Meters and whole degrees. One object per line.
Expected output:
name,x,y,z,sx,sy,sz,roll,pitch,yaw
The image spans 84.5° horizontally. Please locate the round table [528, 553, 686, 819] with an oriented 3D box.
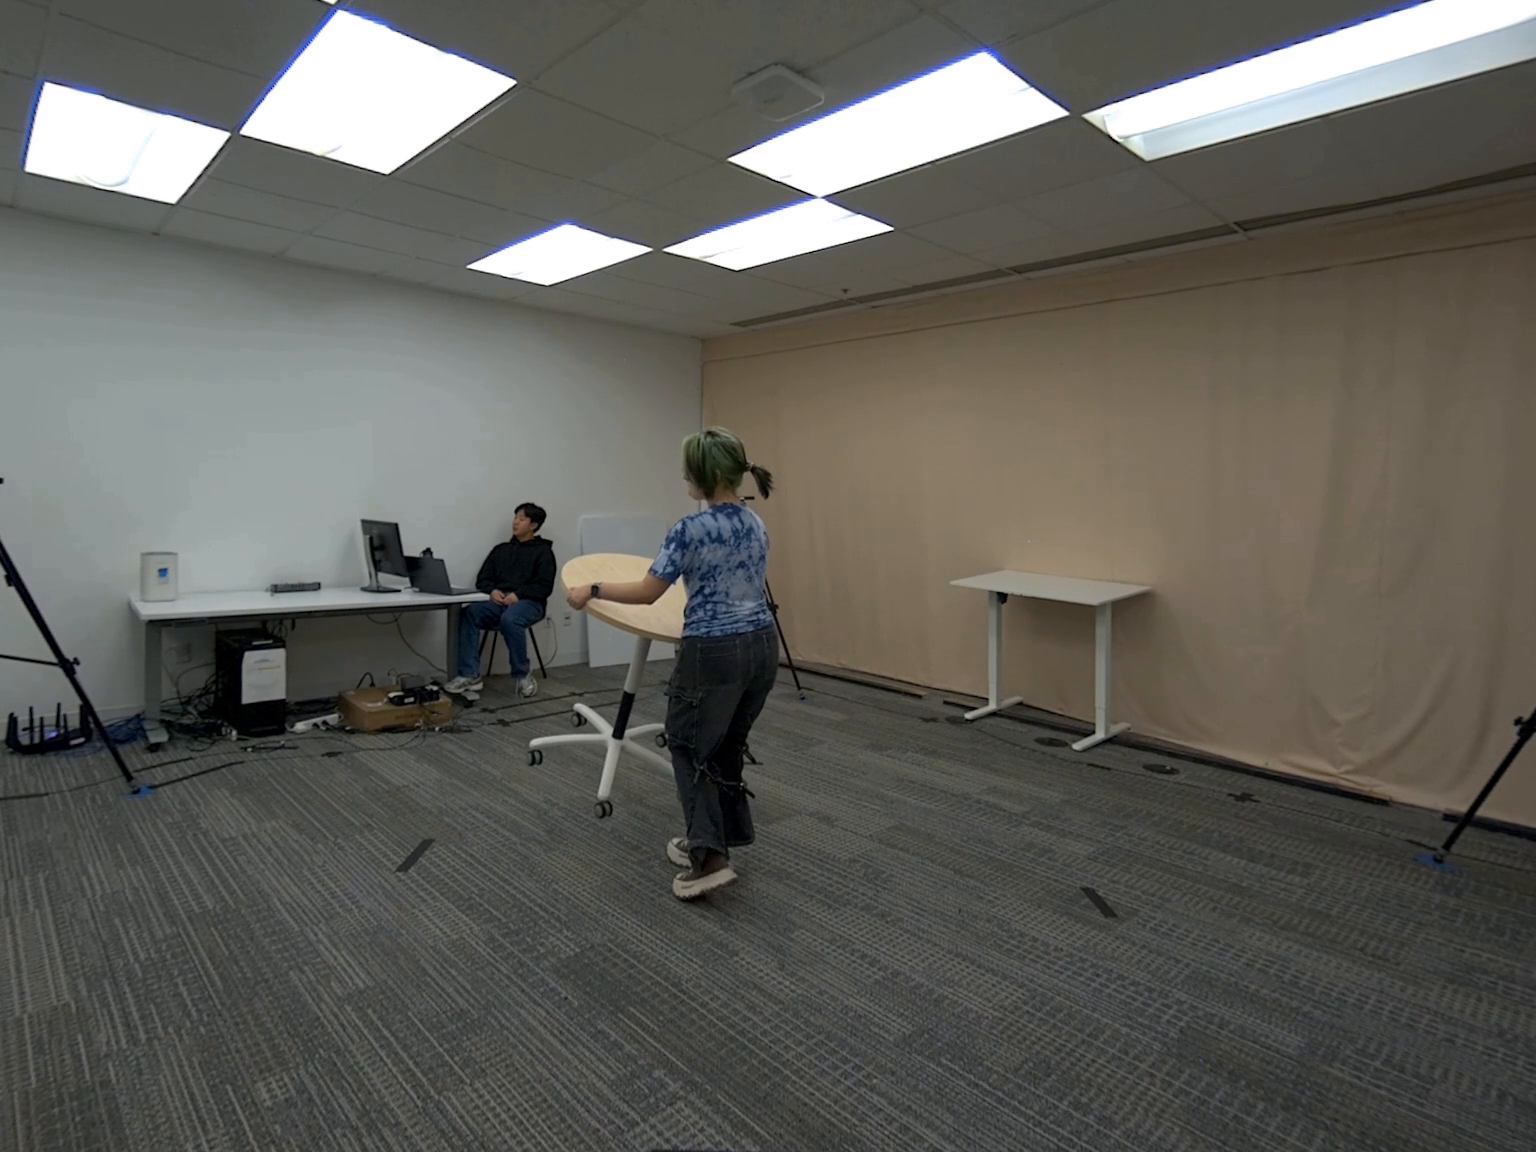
round table,-0.564,0.435,3.425,0.760,0.788,0.774,15,17,-6
